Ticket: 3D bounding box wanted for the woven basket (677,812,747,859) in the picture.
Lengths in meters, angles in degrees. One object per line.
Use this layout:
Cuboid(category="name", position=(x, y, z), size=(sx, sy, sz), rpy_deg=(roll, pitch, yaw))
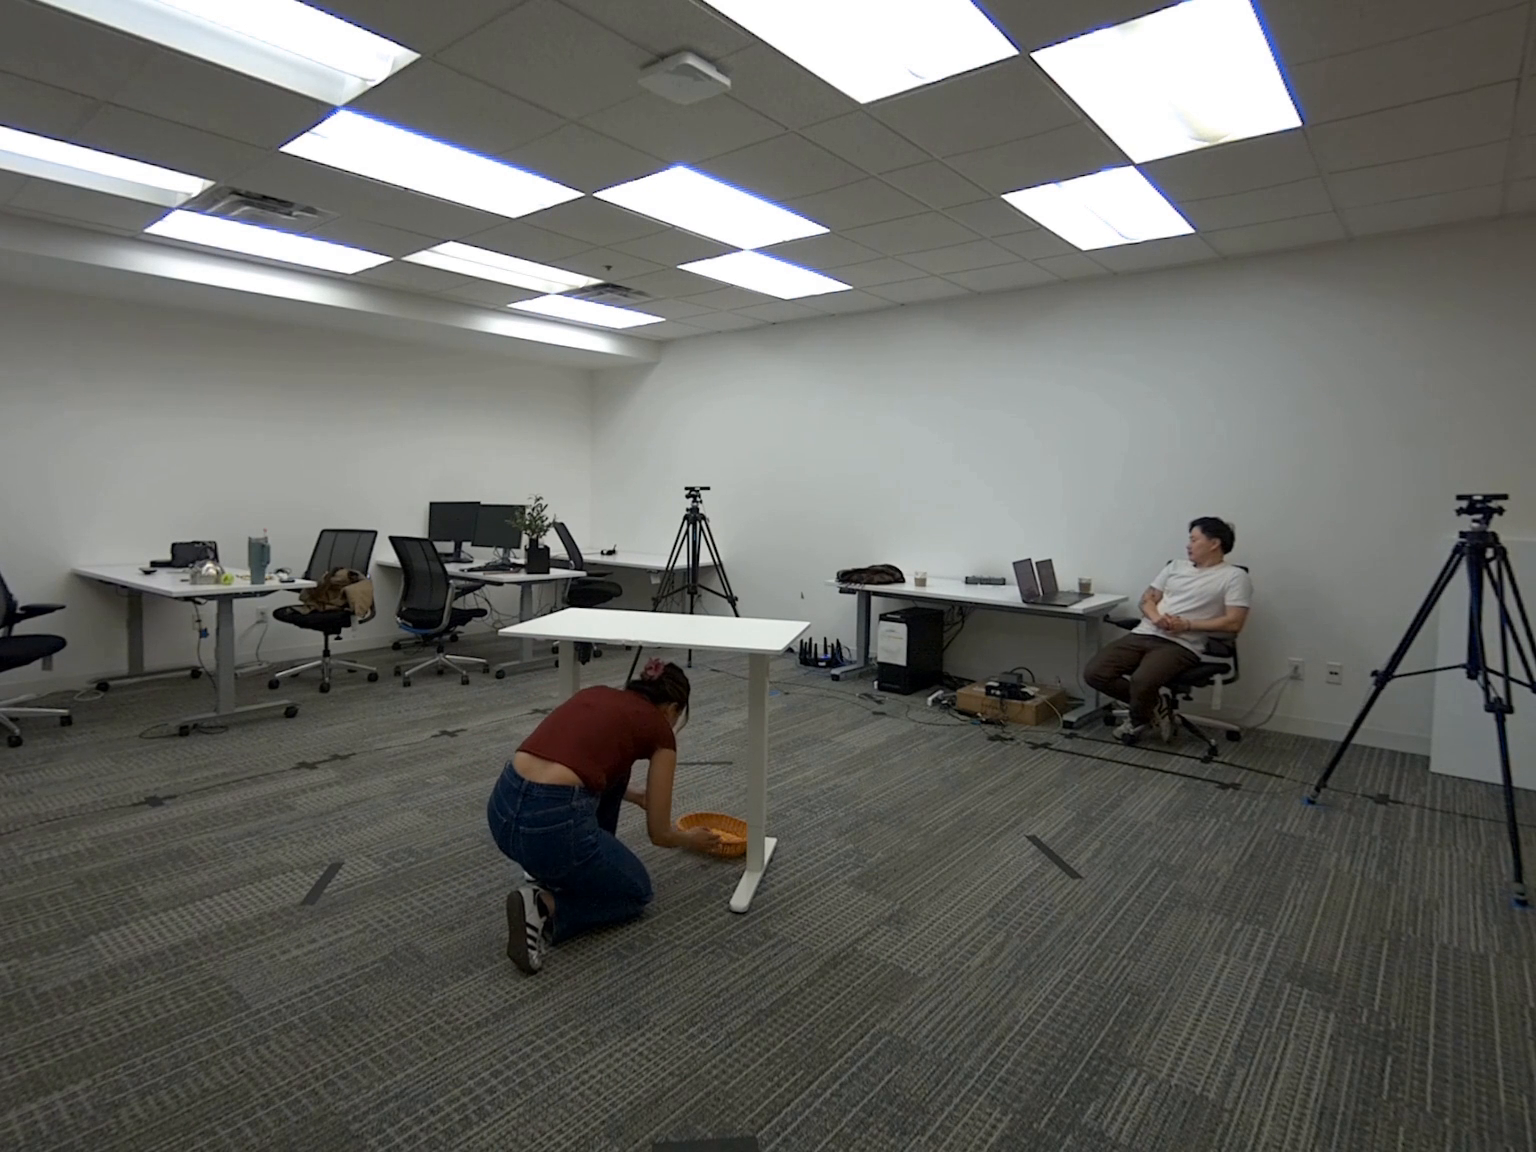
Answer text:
Cuboid(category="woven basket", position=(-0.215, 1.001, 3.309), size=(0.362, 0.073, 0.245), rpy_deg=(5, 5, 39))
